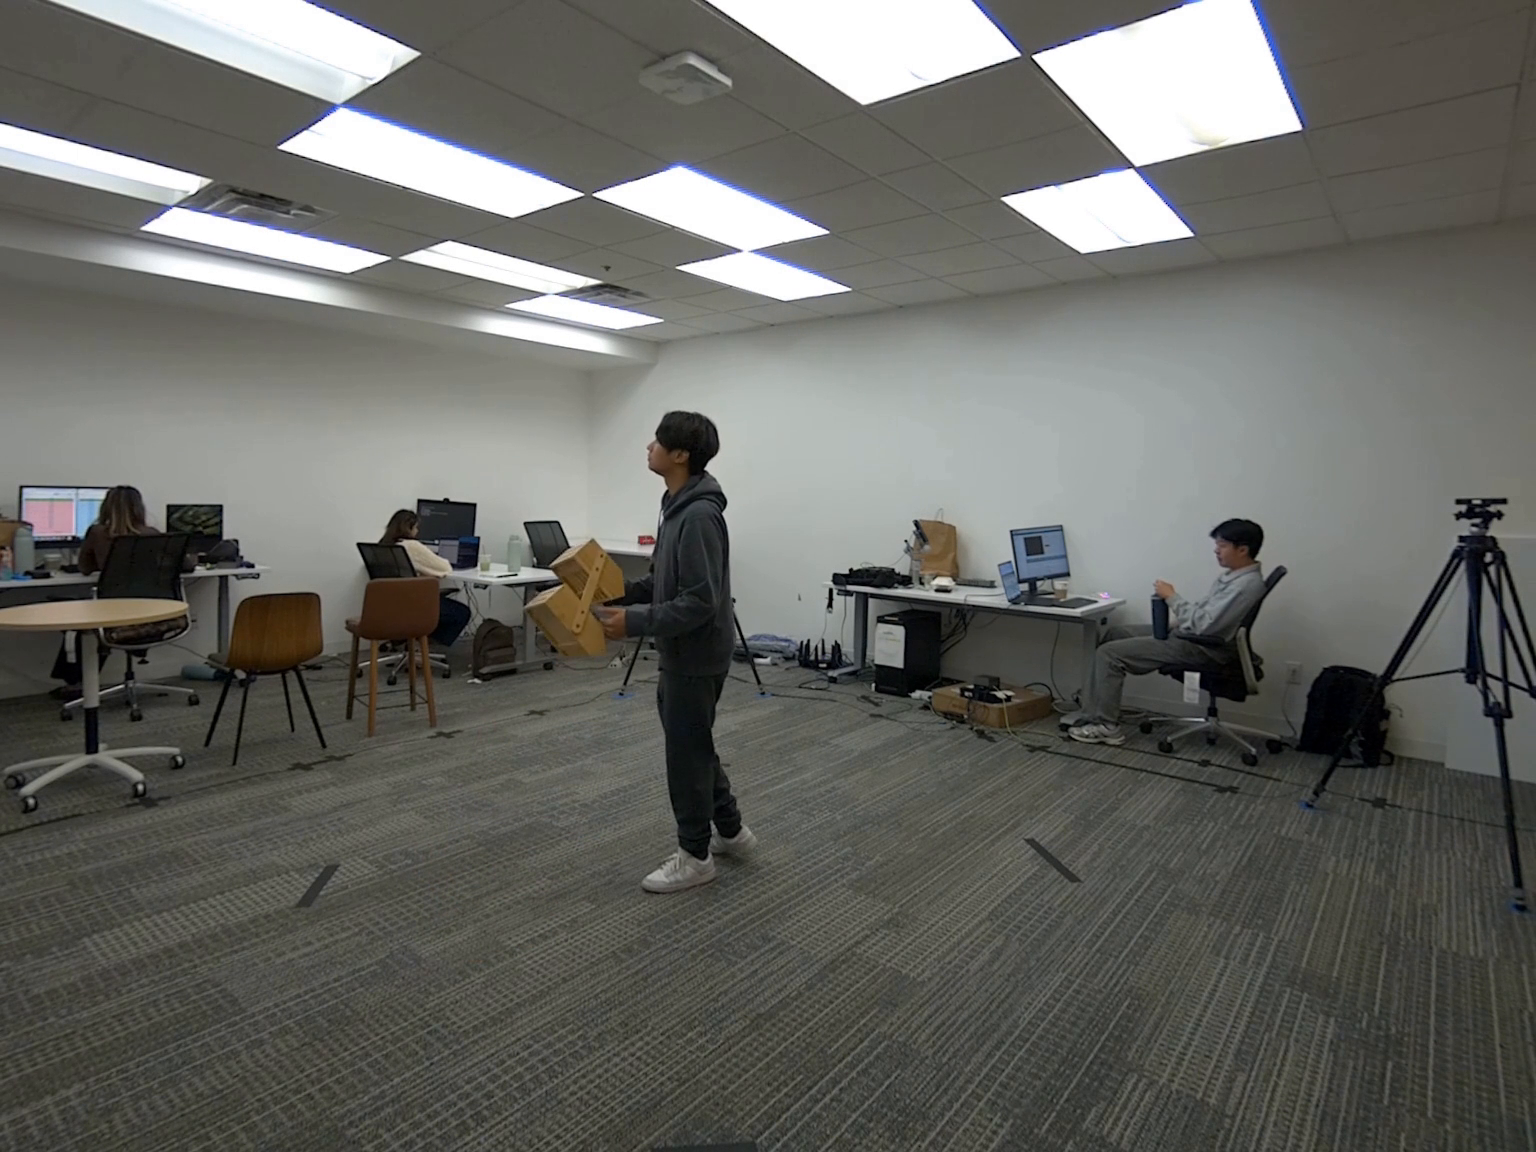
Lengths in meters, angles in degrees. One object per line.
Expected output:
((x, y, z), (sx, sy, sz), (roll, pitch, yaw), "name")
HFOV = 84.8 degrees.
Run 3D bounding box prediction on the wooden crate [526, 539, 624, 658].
((-0.638, 0.087, 2.862), (0.273, 0.297, 0.330), (-46, 15, -25), "wooden crate")
